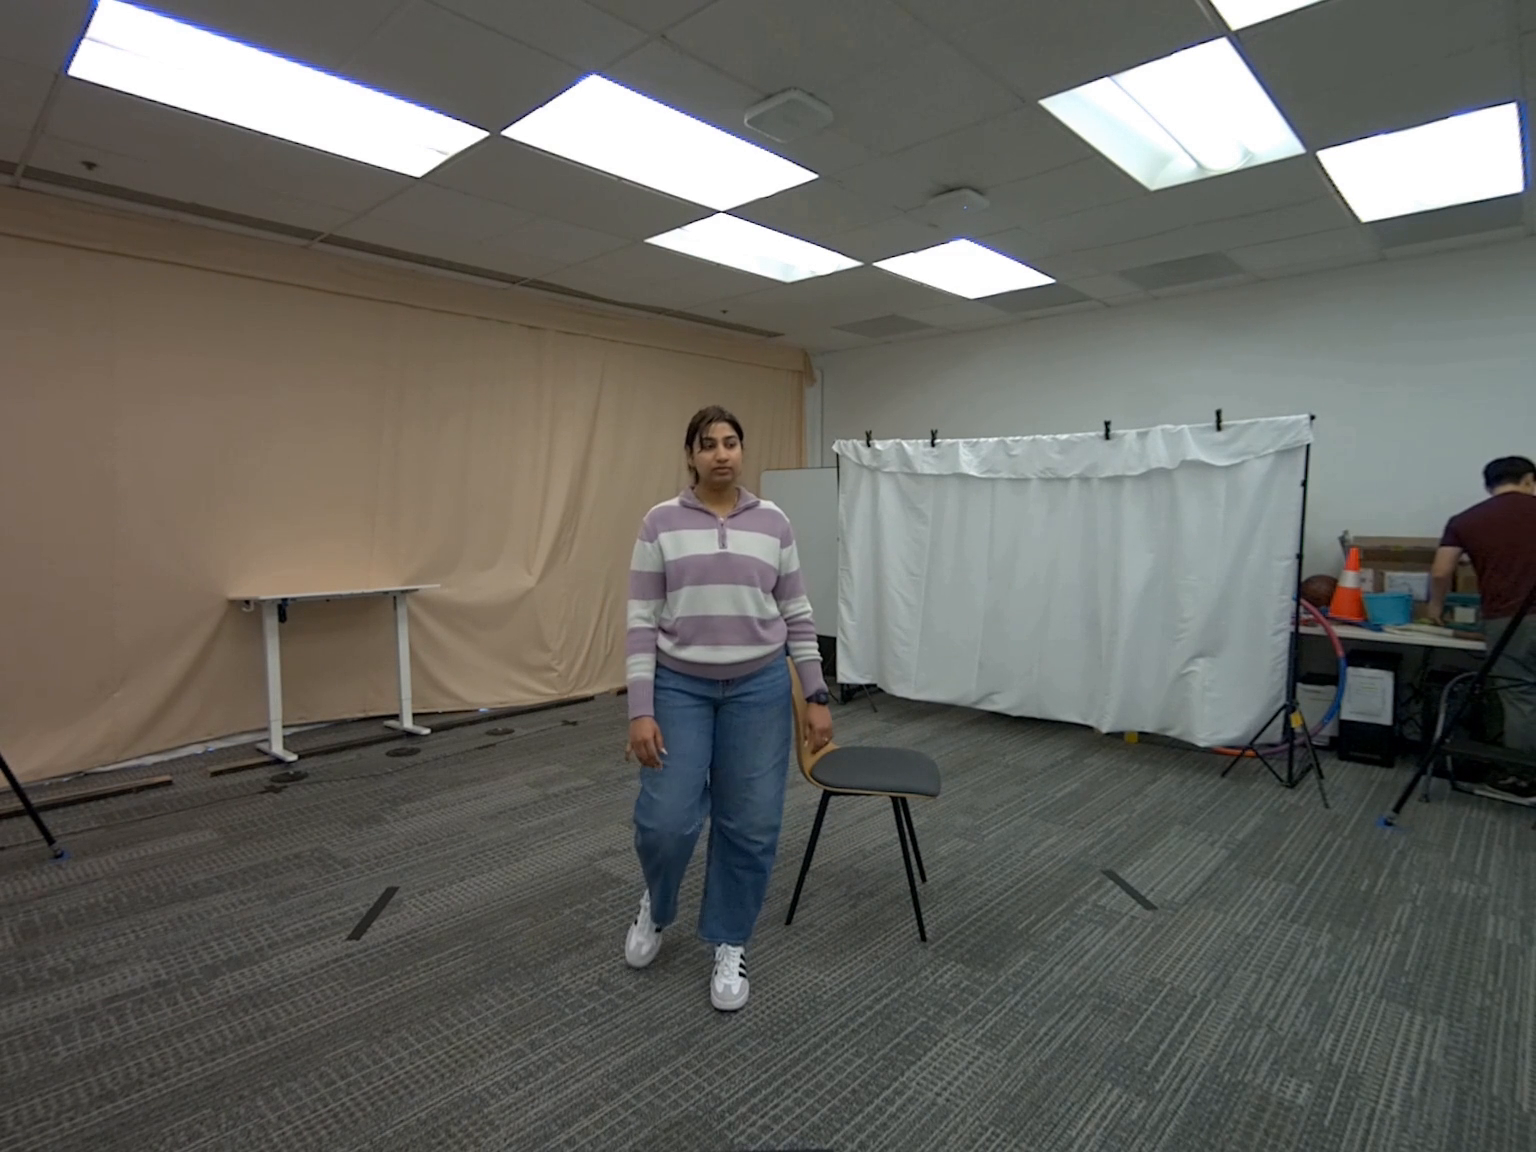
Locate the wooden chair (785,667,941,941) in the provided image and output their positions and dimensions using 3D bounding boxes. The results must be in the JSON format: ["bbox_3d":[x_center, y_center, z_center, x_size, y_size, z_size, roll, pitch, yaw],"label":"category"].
[{"bbox_3d":[0.335,0.721,2.921,0.531,0.876,0.472,-3,2,13],"label":"wooden chair"}]
